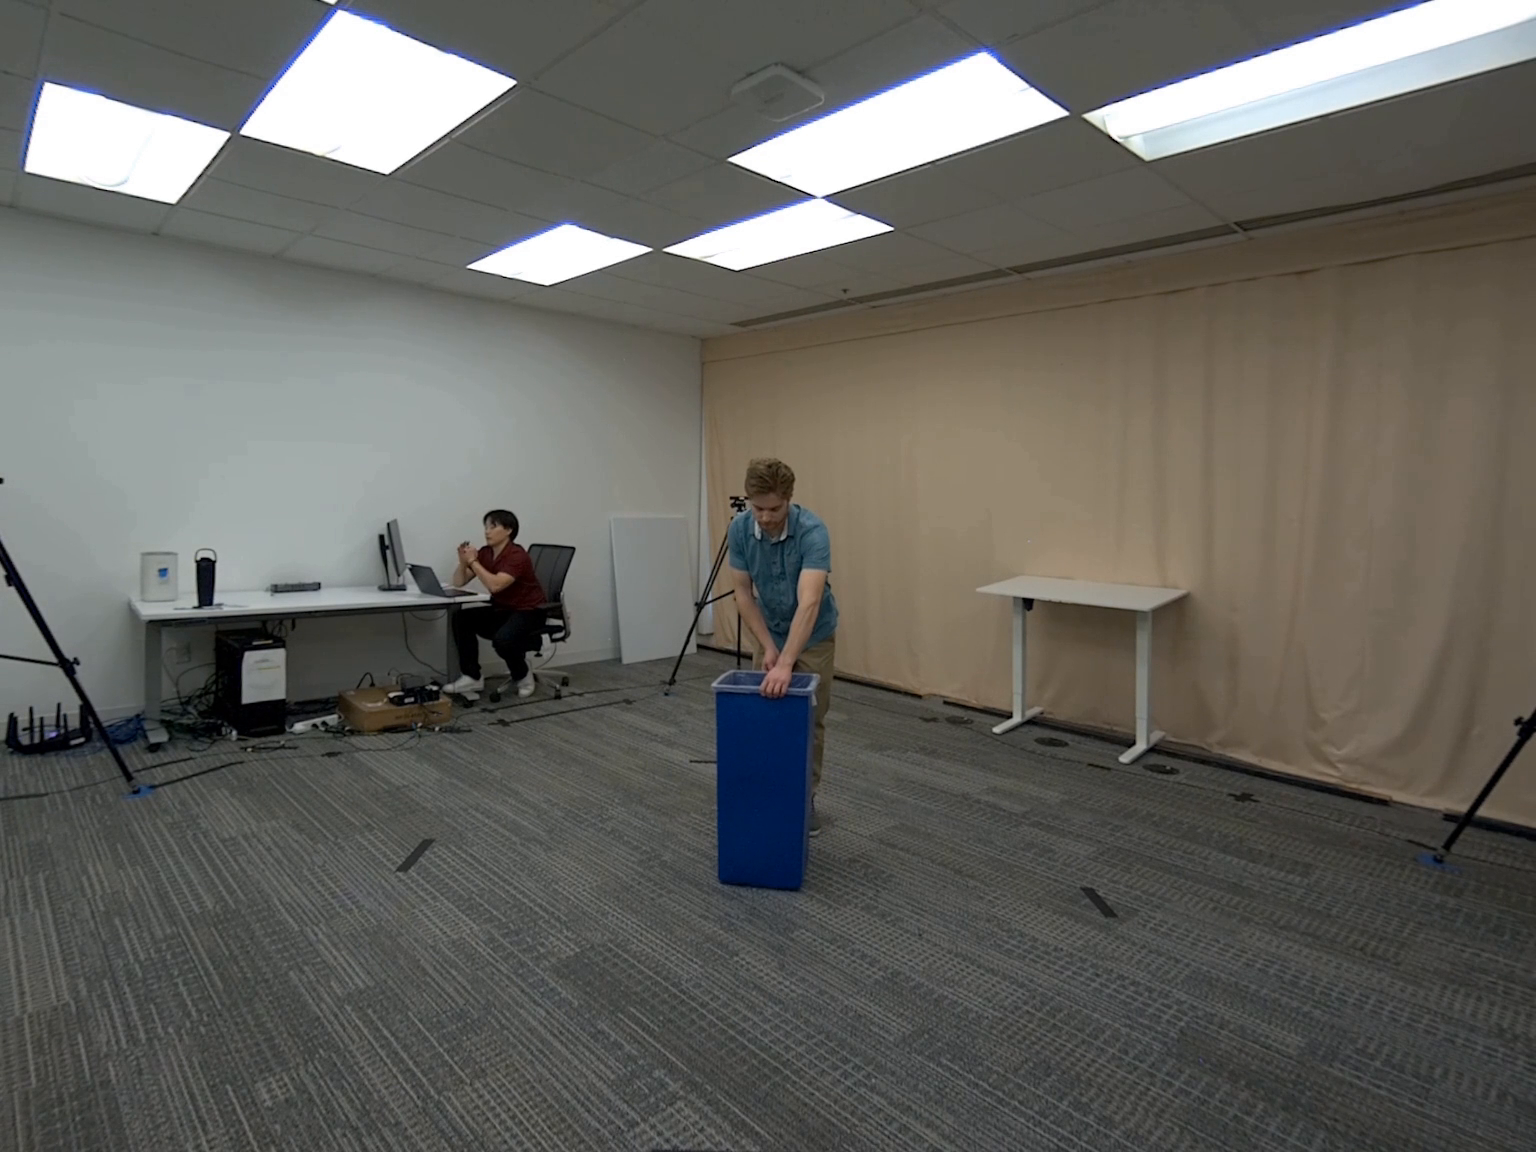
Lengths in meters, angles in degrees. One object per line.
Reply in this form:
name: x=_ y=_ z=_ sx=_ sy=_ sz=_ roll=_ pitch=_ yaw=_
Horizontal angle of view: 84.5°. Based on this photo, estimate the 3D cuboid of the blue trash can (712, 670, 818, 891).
blue trash can: x=-0.019 y=0.743 z=3.151 sx=0.381 sy=0.712 sz=0.372 roll=1 pitch=2 yaw=8
